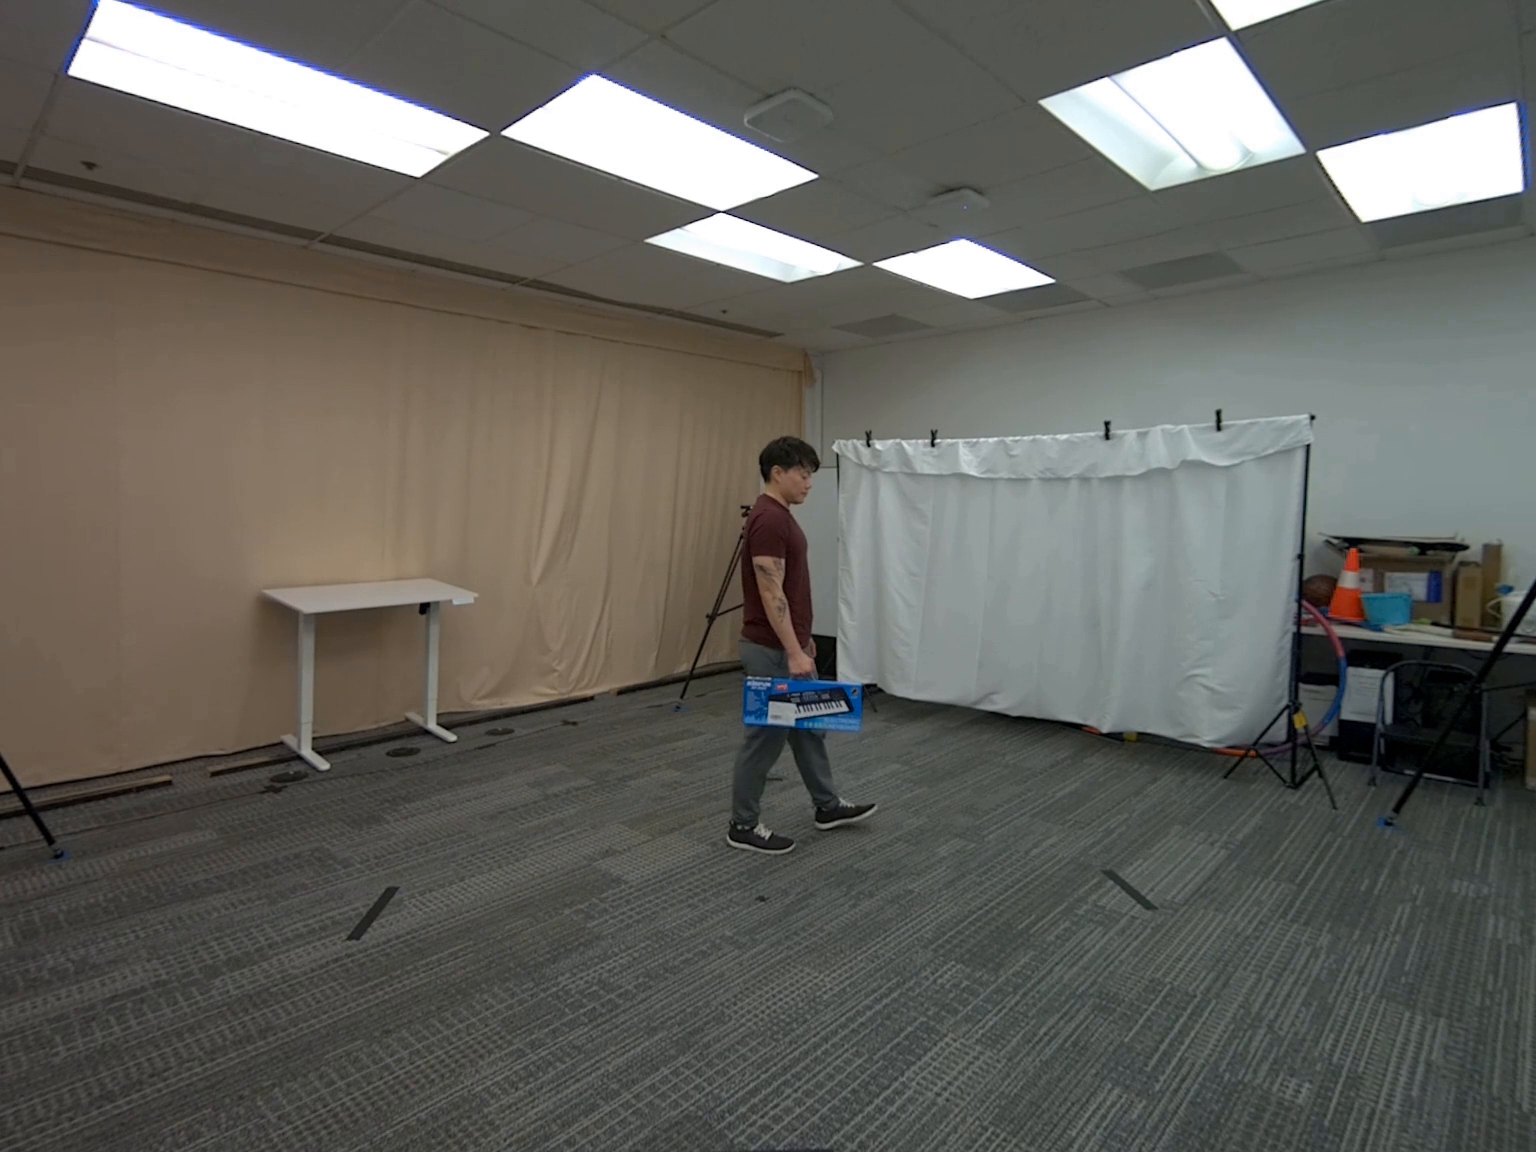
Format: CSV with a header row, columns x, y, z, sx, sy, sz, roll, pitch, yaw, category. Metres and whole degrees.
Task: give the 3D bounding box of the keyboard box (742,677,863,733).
x,y,z,sx,sy,sz,roll,pitch,yaw,category
0.131,0.474,3.153,0.439,0.176,0.059,3,0,5,keyboard box
